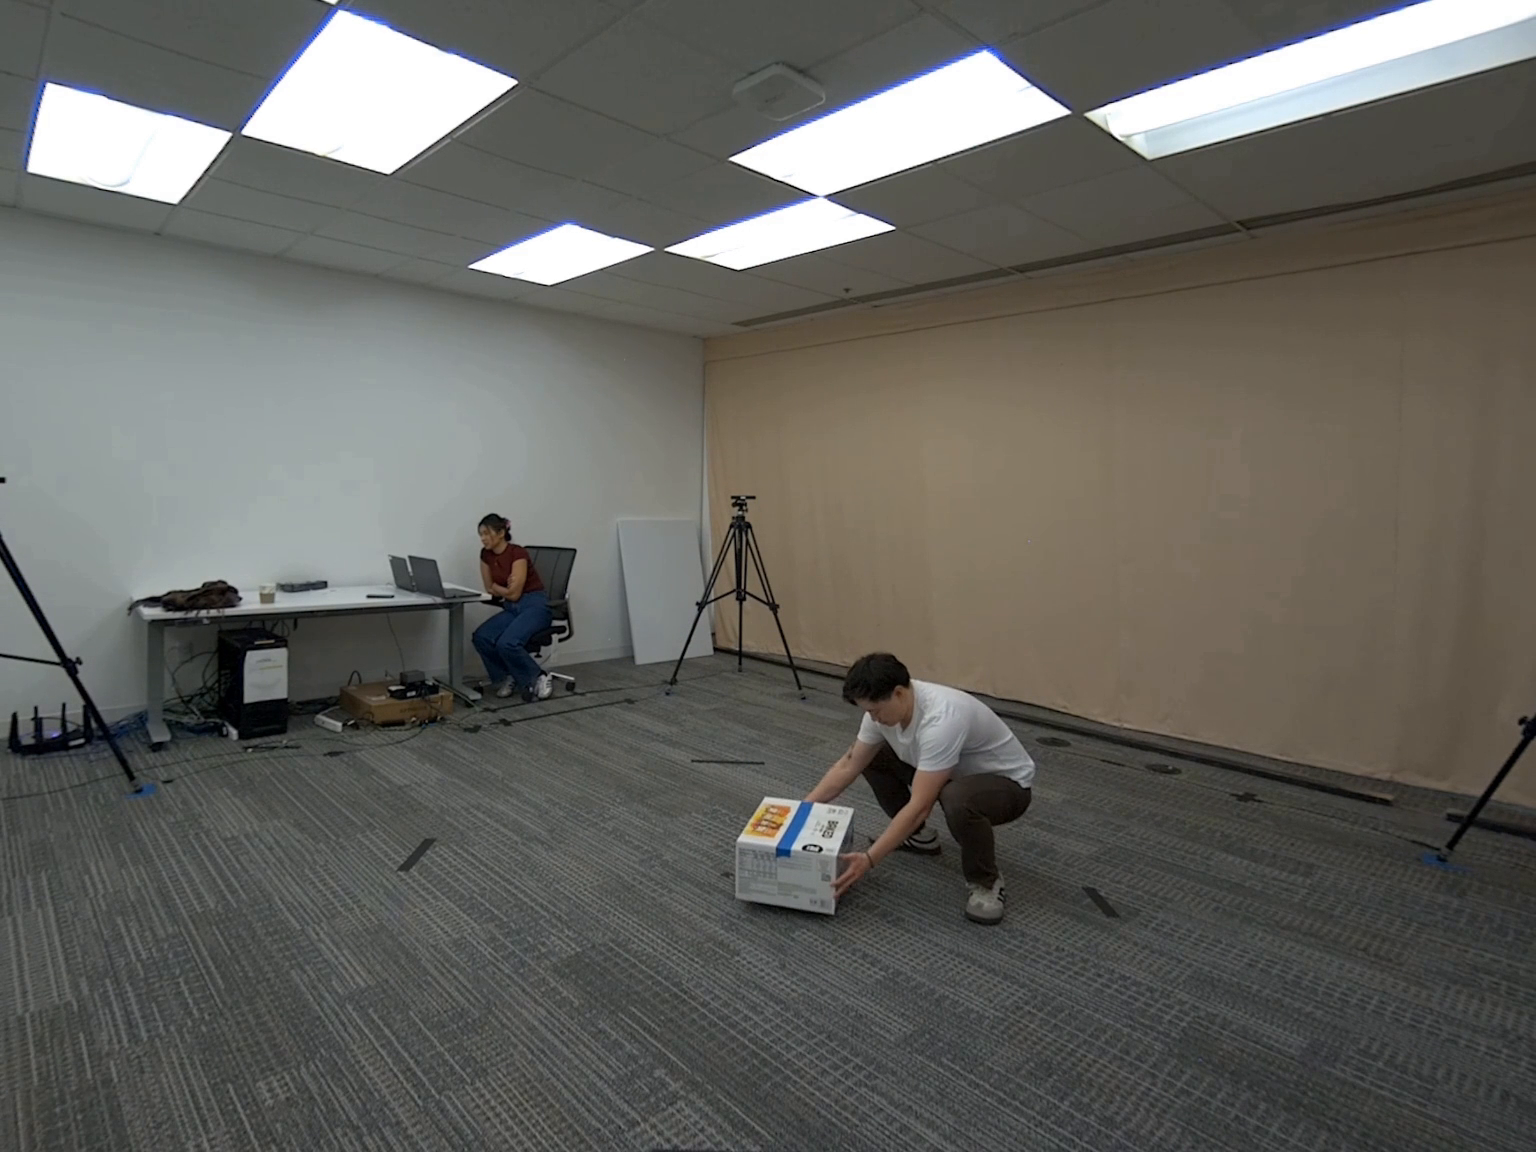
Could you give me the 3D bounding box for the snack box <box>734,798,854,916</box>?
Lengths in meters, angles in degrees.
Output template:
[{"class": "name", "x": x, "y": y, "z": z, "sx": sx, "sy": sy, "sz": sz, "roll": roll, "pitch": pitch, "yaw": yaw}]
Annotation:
[{"class": "snack box", "x": 0.095, "y": 0.963, "z": 2.965, "sx": 0.345, "sy": 0.205, "sz": 0.401, "roll": 3, "pitch": 7, "yaw": 15}]
